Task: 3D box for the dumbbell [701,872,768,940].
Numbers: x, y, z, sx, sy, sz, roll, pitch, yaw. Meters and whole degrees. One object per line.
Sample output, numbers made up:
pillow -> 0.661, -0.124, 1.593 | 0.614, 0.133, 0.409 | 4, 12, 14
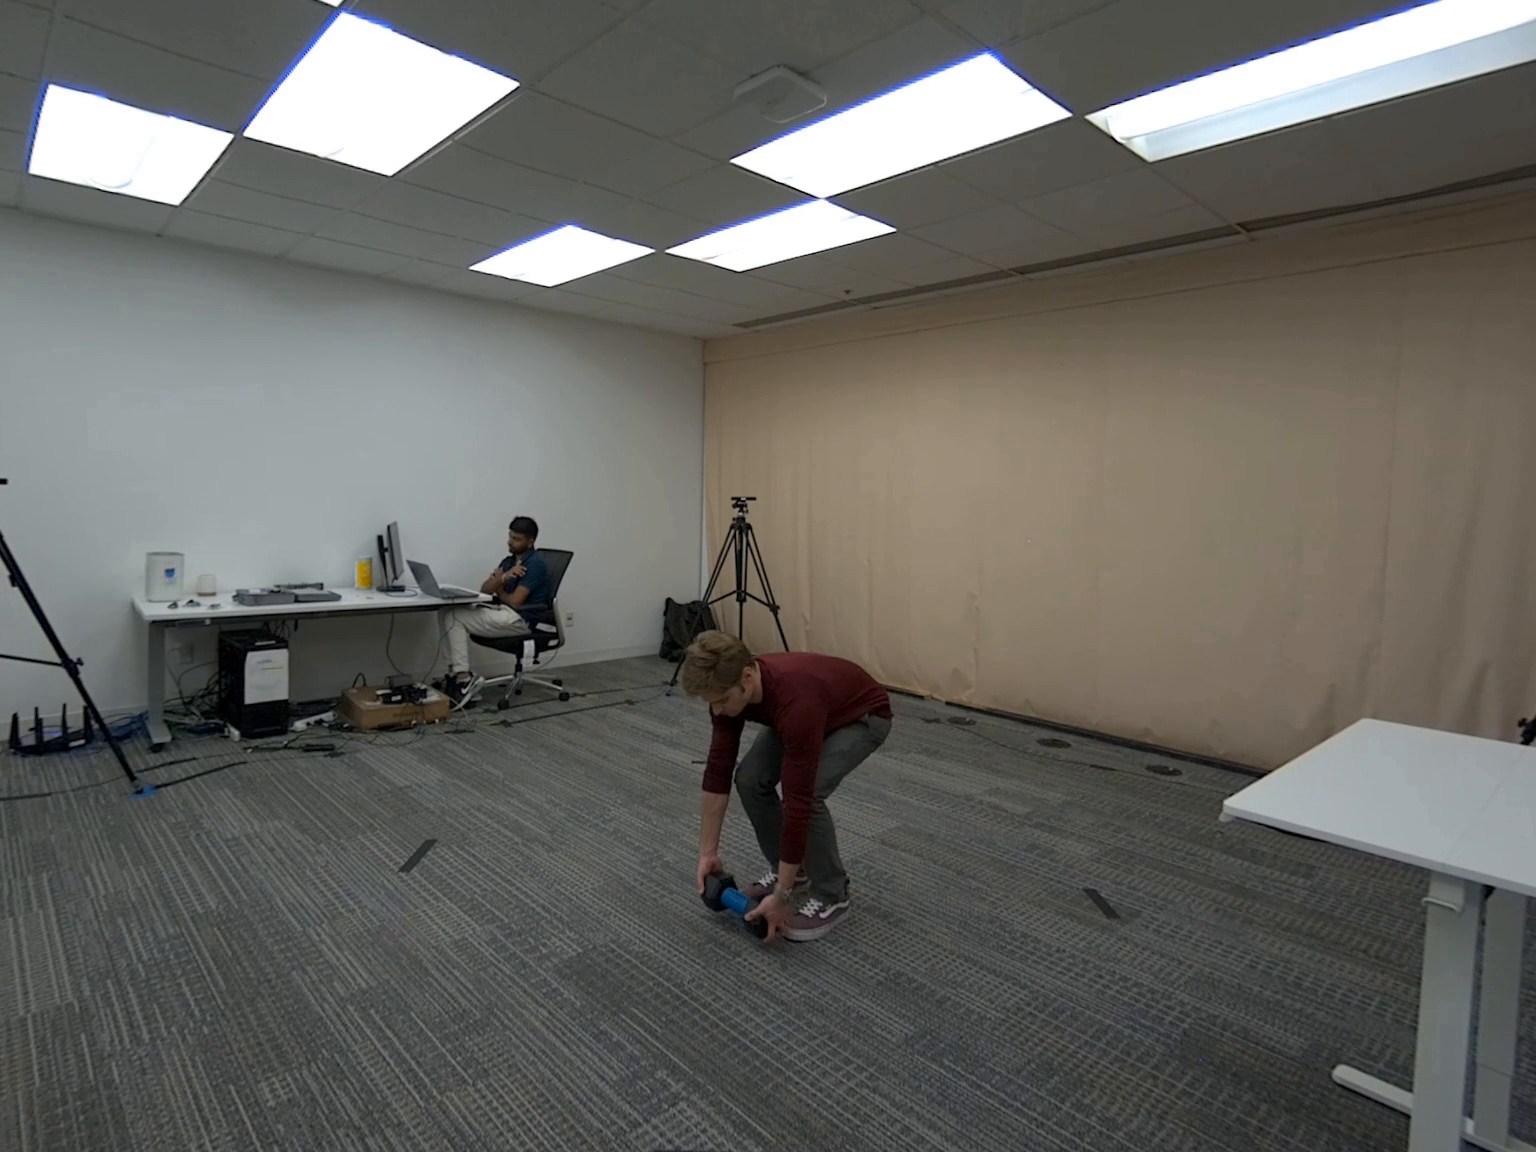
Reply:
dumbbell -> -0.091, 1.039, 2.693 | 0.108, 0.120, 0.301 | -37, 26, -31
